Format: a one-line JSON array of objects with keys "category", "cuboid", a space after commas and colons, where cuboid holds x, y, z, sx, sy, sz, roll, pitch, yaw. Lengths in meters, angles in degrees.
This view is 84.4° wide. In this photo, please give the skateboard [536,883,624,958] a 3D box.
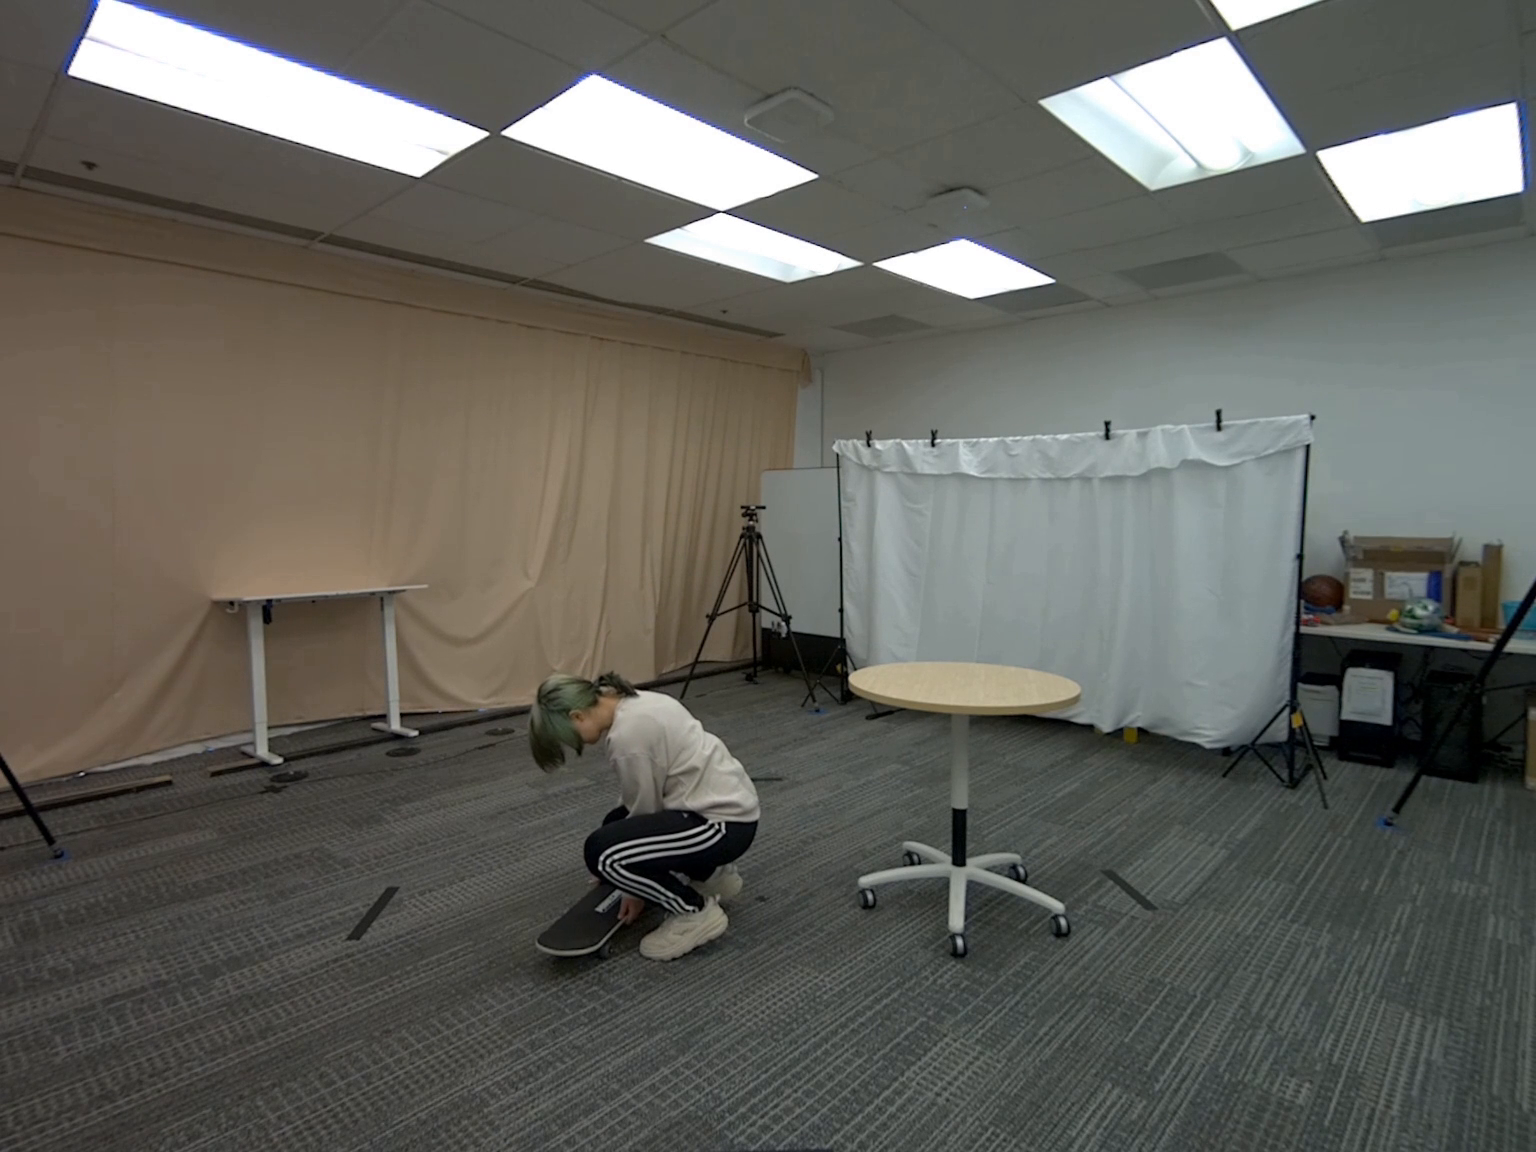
[{"category": "skateboard", "cuboid": [-0.508, 1.094, 2.814, 0.197, 0.110, 0.771, 1, 5, 18]}]
